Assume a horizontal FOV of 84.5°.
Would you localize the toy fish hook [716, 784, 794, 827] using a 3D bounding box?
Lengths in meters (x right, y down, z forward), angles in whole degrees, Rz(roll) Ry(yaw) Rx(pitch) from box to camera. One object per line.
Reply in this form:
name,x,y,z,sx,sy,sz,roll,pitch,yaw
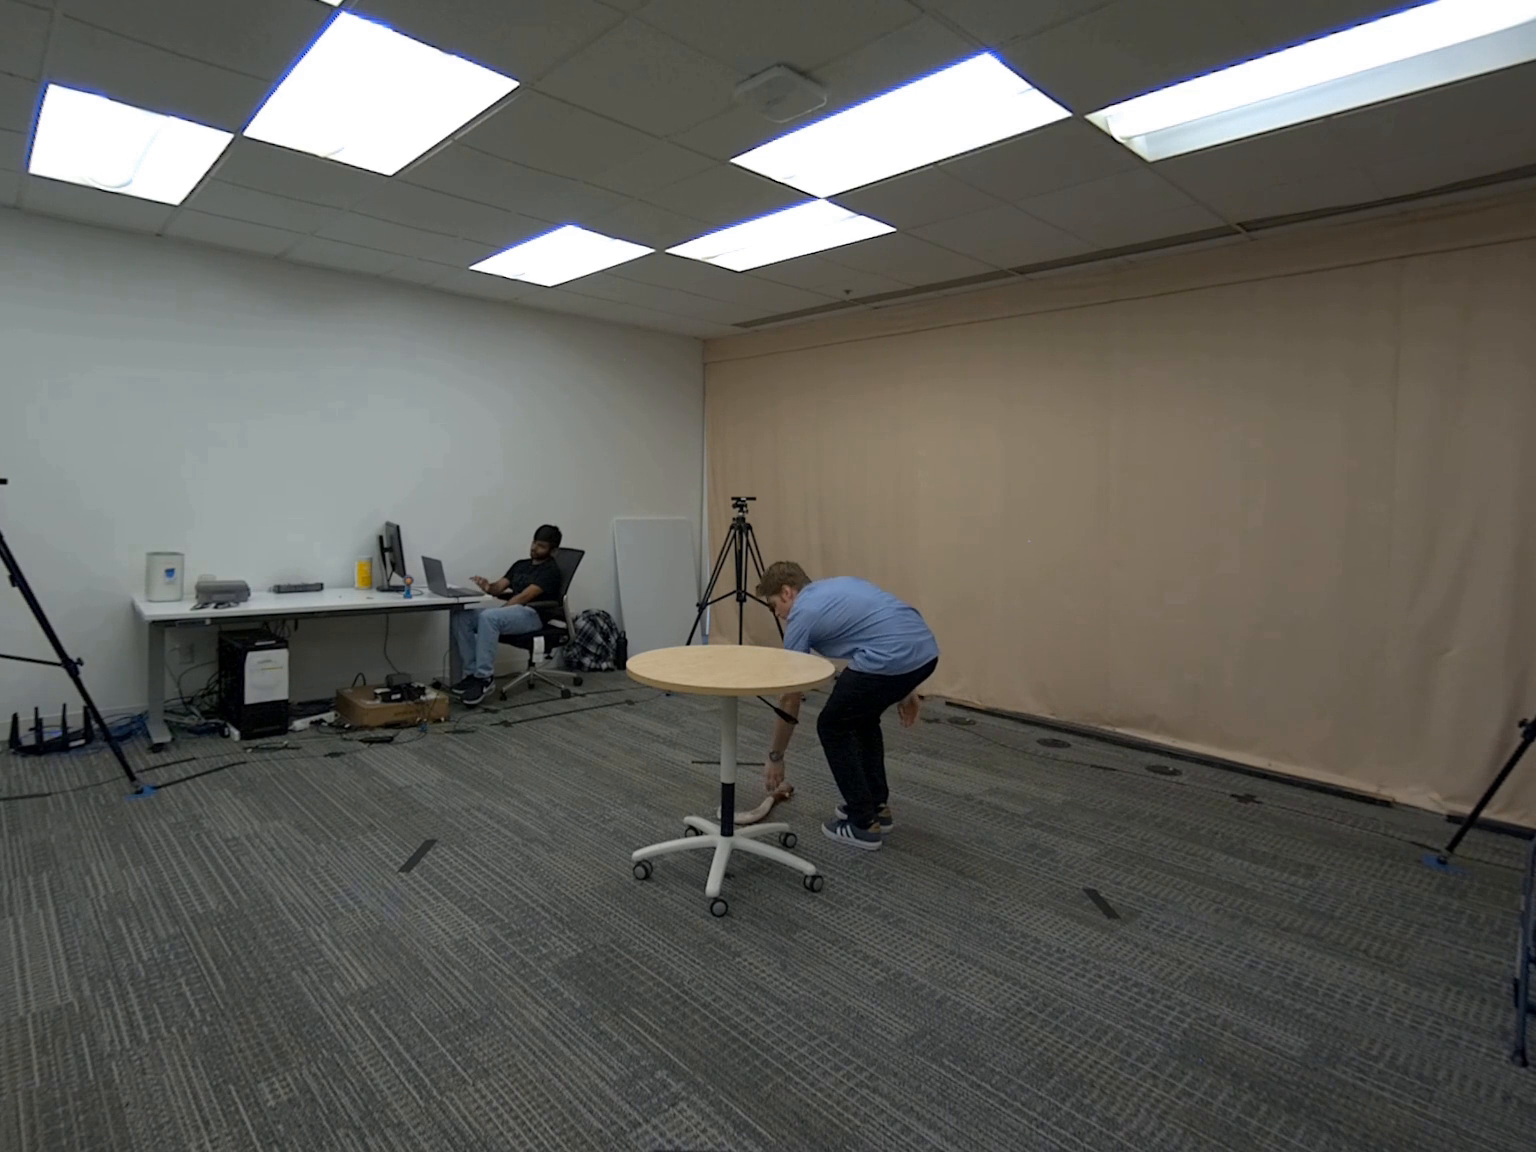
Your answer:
toy fish hook,-0.061,1.023,3.818,0.229,0.048,0.497,4,4,28
